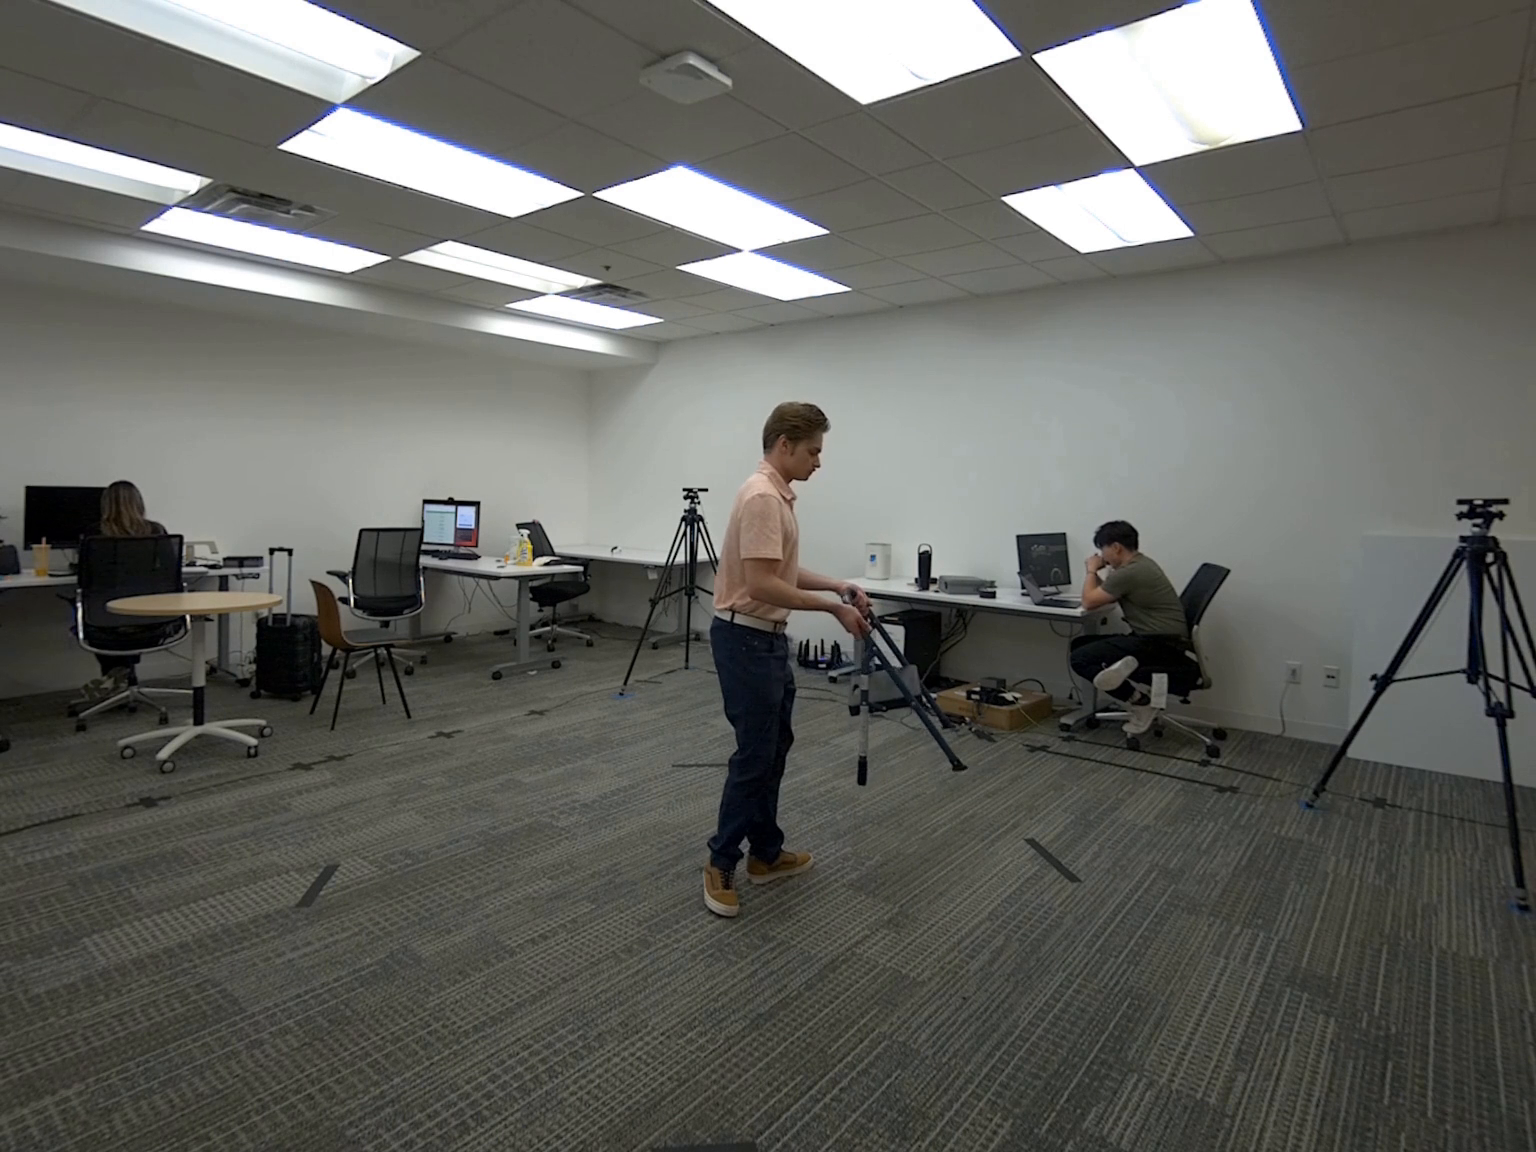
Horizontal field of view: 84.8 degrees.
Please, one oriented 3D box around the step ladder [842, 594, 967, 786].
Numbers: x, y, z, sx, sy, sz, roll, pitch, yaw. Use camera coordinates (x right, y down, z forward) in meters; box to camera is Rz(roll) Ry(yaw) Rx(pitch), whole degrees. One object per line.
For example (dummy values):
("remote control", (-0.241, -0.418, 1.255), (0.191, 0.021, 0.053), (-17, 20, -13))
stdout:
("step ladder", (0.396, 0.330, 2.918), (0.352, 0.603, 0.430), (-14, 6, 10))
